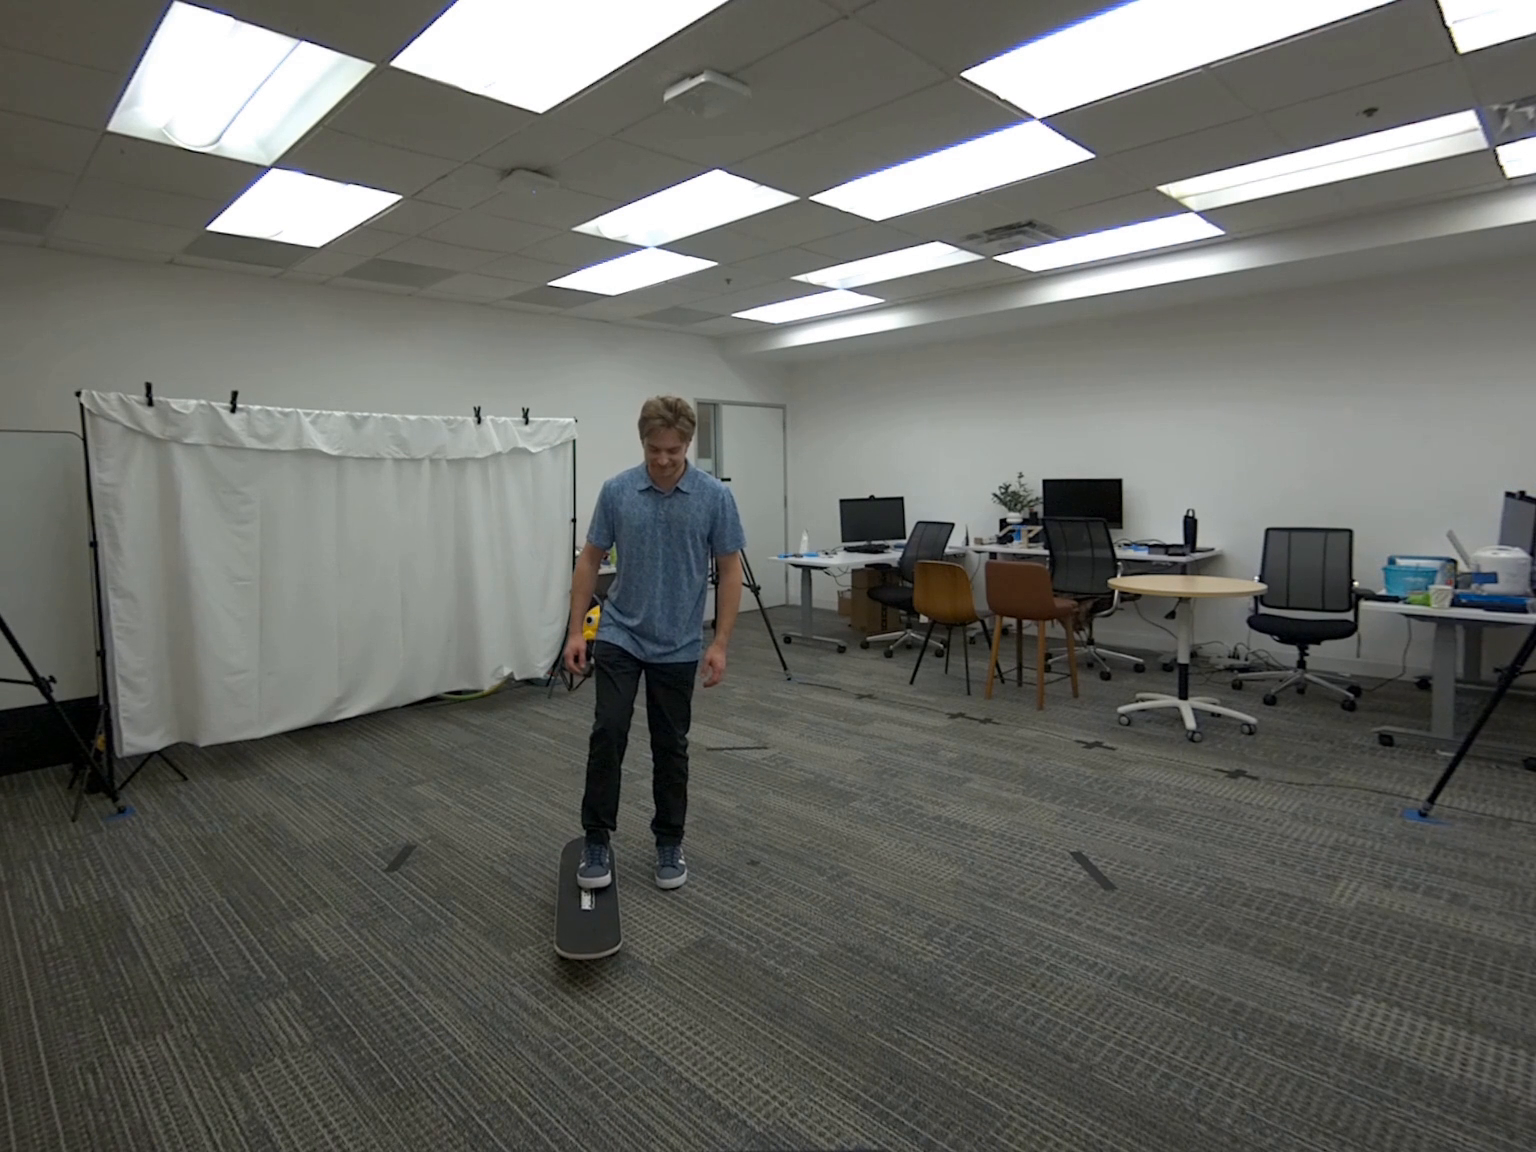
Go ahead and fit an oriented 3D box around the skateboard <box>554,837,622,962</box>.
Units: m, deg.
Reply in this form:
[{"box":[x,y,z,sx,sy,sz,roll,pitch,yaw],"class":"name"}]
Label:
[{"box":[-0.561,1.041,2.720,0.191,0.110,0.797,-2,6,-12],"class":"skateboard"}]
